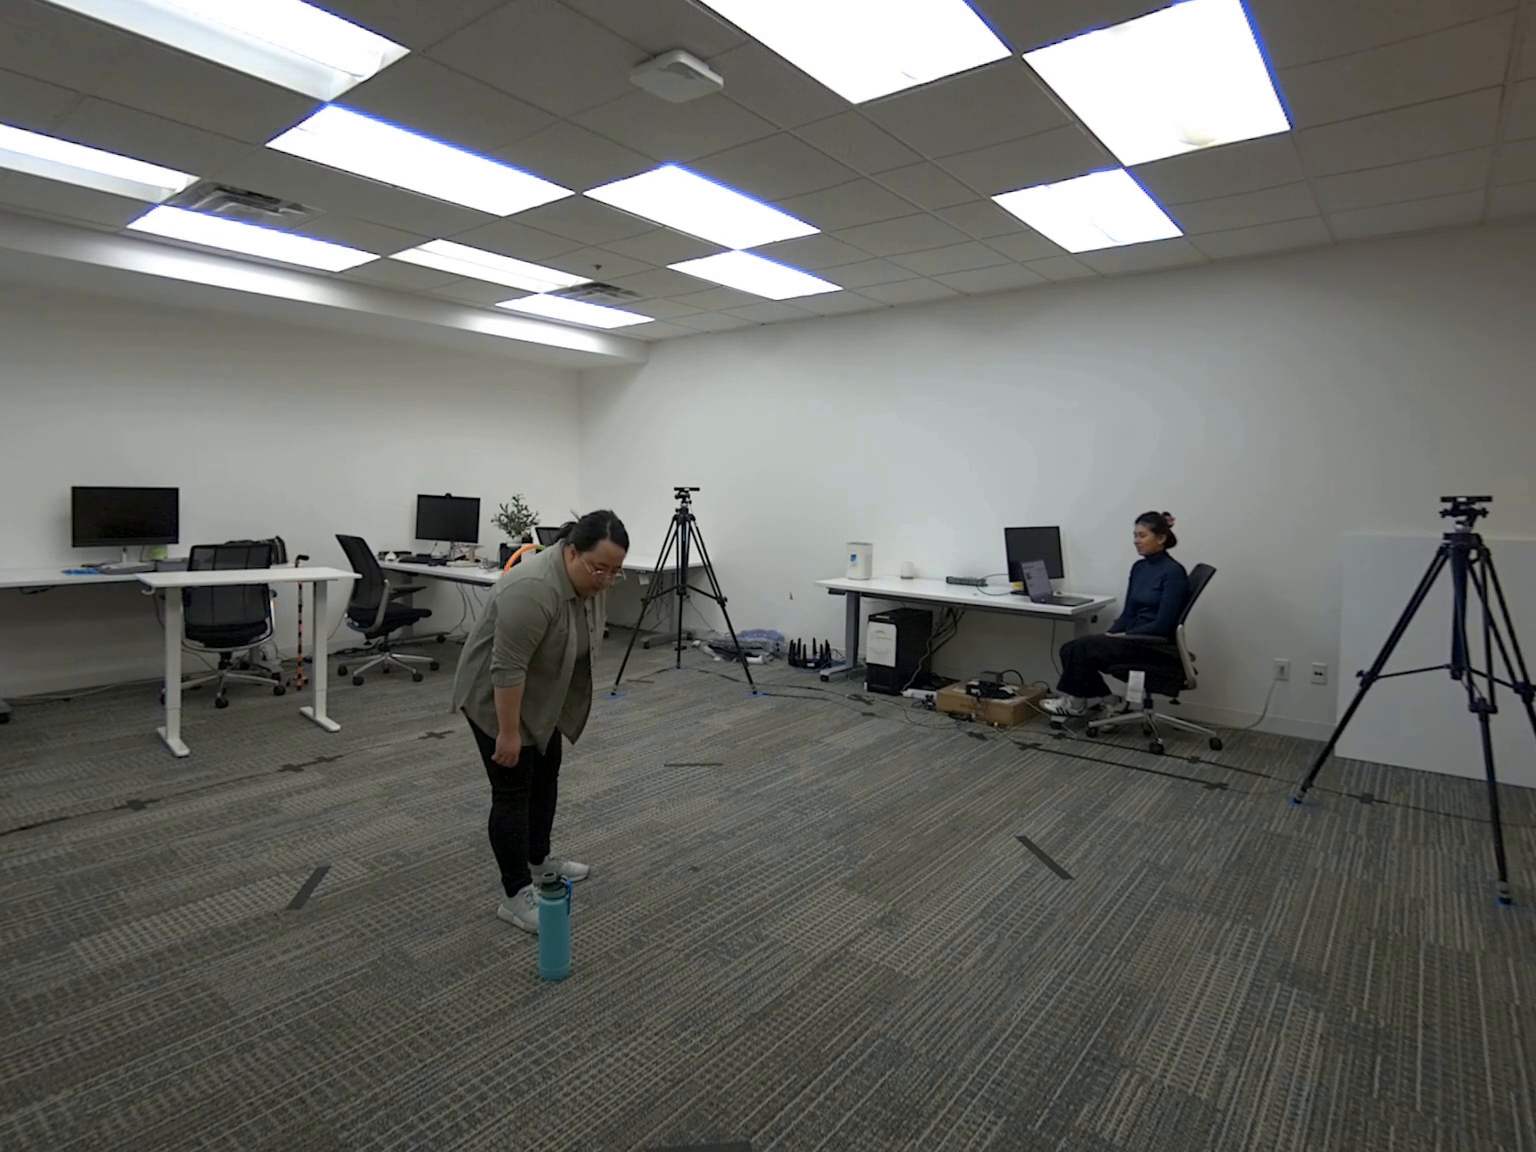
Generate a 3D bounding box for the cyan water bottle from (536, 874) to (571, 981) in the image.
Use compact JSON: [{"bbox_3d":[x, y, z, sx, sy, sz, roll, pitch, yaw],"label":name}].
[{"bbox_3d":[-0.619,0.991,2.423,0.092,0.282,0.093,1,4,-2],"label":"cyan water bottle"}]
